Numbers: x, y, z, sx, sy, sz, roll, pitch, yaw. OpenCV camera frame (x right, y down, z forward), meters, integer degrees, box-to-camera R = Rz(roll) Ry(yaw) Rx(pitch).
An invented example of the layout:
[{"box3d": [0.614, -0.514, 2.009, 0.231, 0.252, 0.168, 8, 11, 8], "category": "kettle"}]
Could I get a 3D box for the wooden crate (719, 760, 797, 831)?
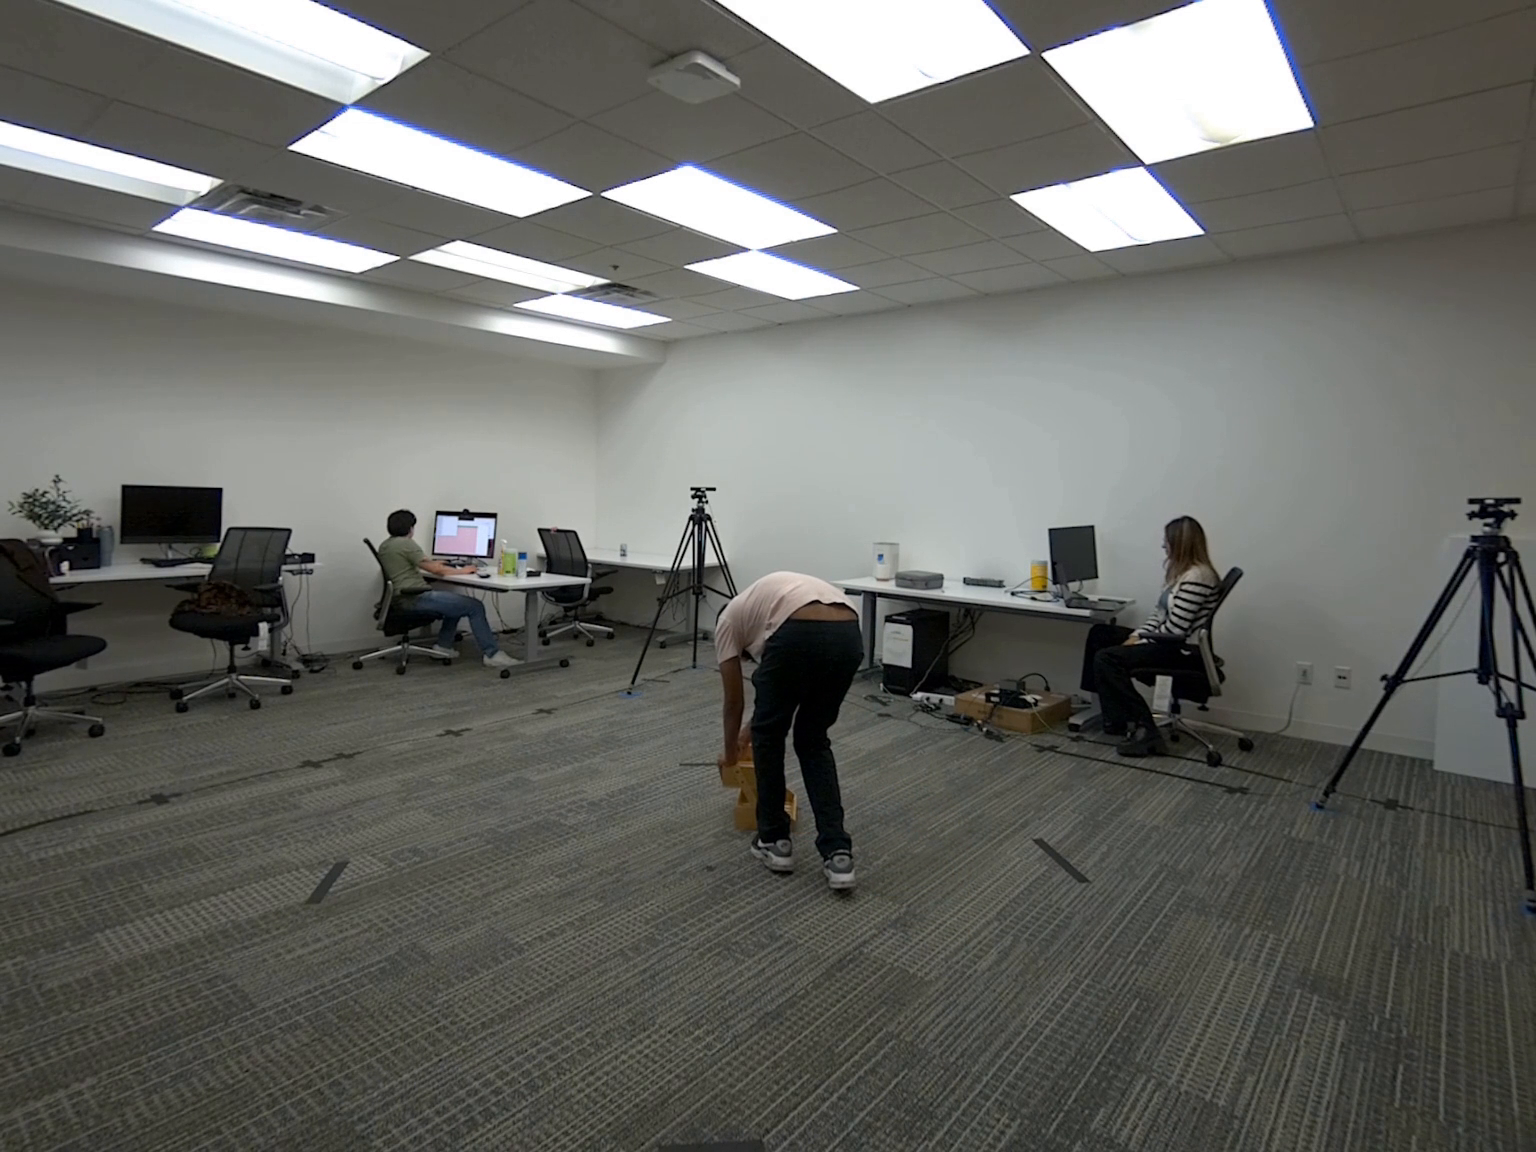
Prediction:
[{"box3d": [-0.038, 0.885, 3.618, 0.303, 0.272, 0.324, 0, 4, 3], "category": "wooden crate"}]
